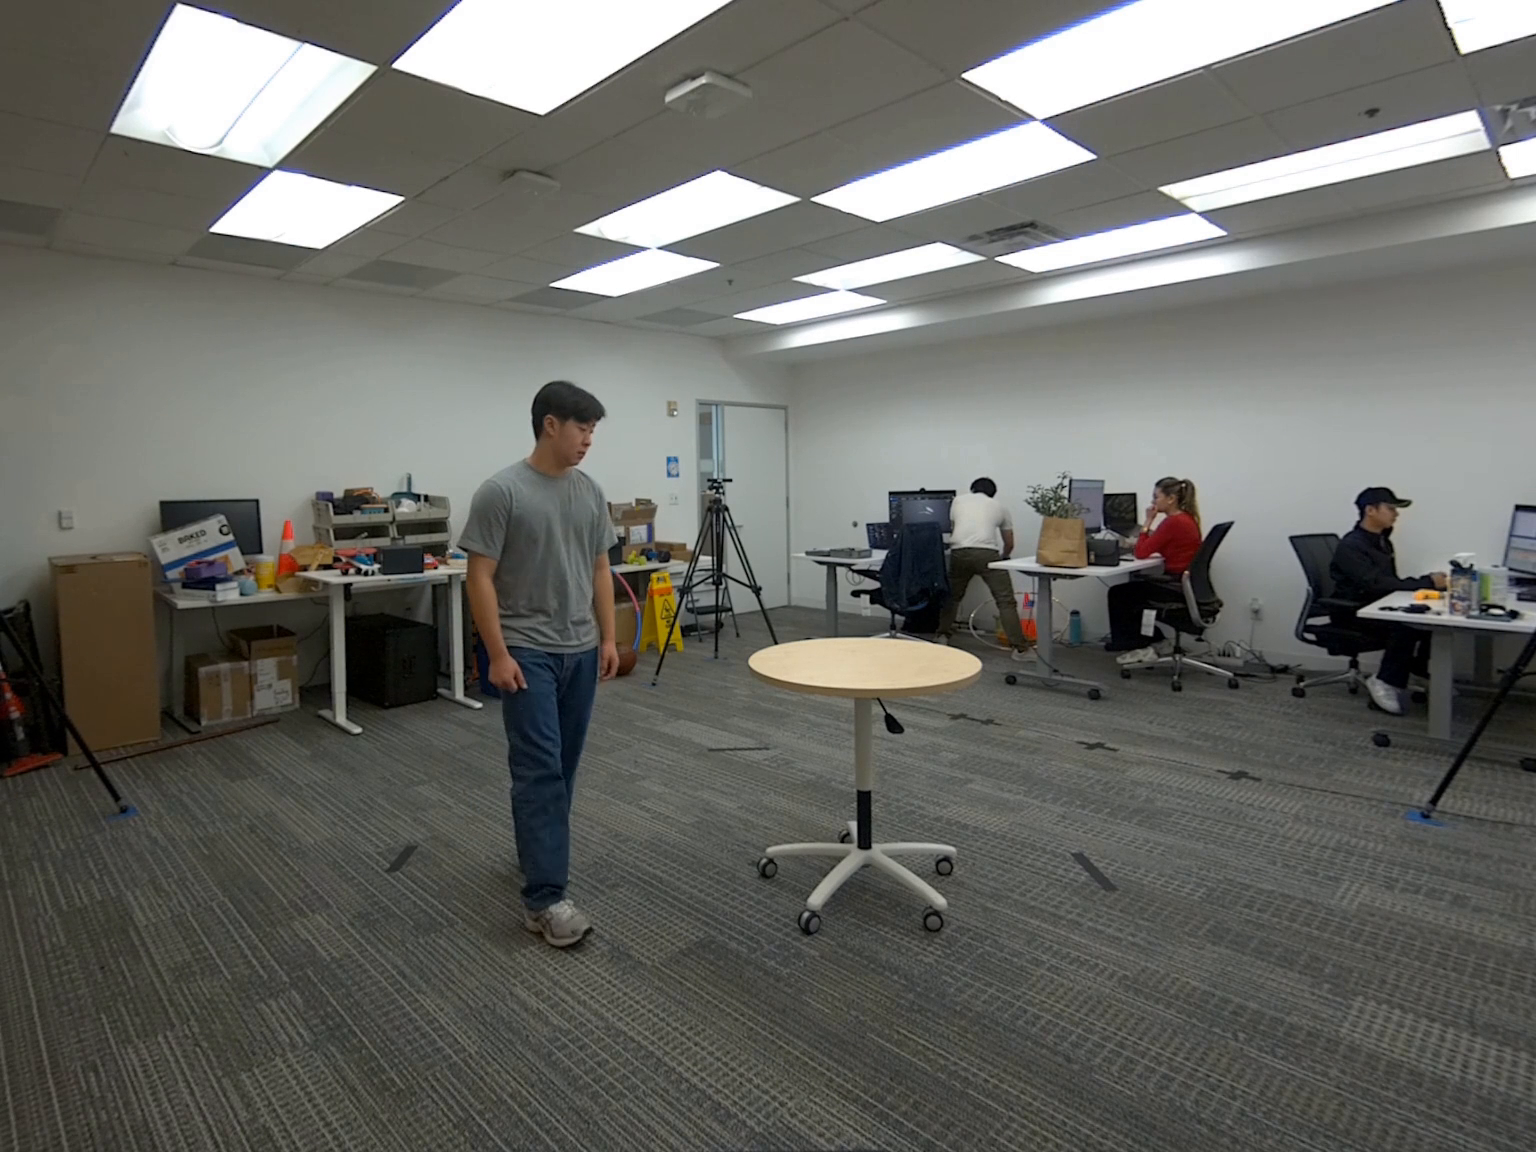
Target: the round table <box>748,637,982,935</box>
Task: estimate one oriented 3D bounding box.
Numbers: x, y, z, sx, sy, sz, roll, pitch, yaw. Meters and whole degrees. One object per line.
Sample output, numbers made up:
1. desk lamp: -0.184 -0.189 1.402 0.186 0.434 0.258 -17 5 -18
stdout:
1. round table: 0.325 0.671 2.887 0.763 0.790 0.768 -1 5 -2
